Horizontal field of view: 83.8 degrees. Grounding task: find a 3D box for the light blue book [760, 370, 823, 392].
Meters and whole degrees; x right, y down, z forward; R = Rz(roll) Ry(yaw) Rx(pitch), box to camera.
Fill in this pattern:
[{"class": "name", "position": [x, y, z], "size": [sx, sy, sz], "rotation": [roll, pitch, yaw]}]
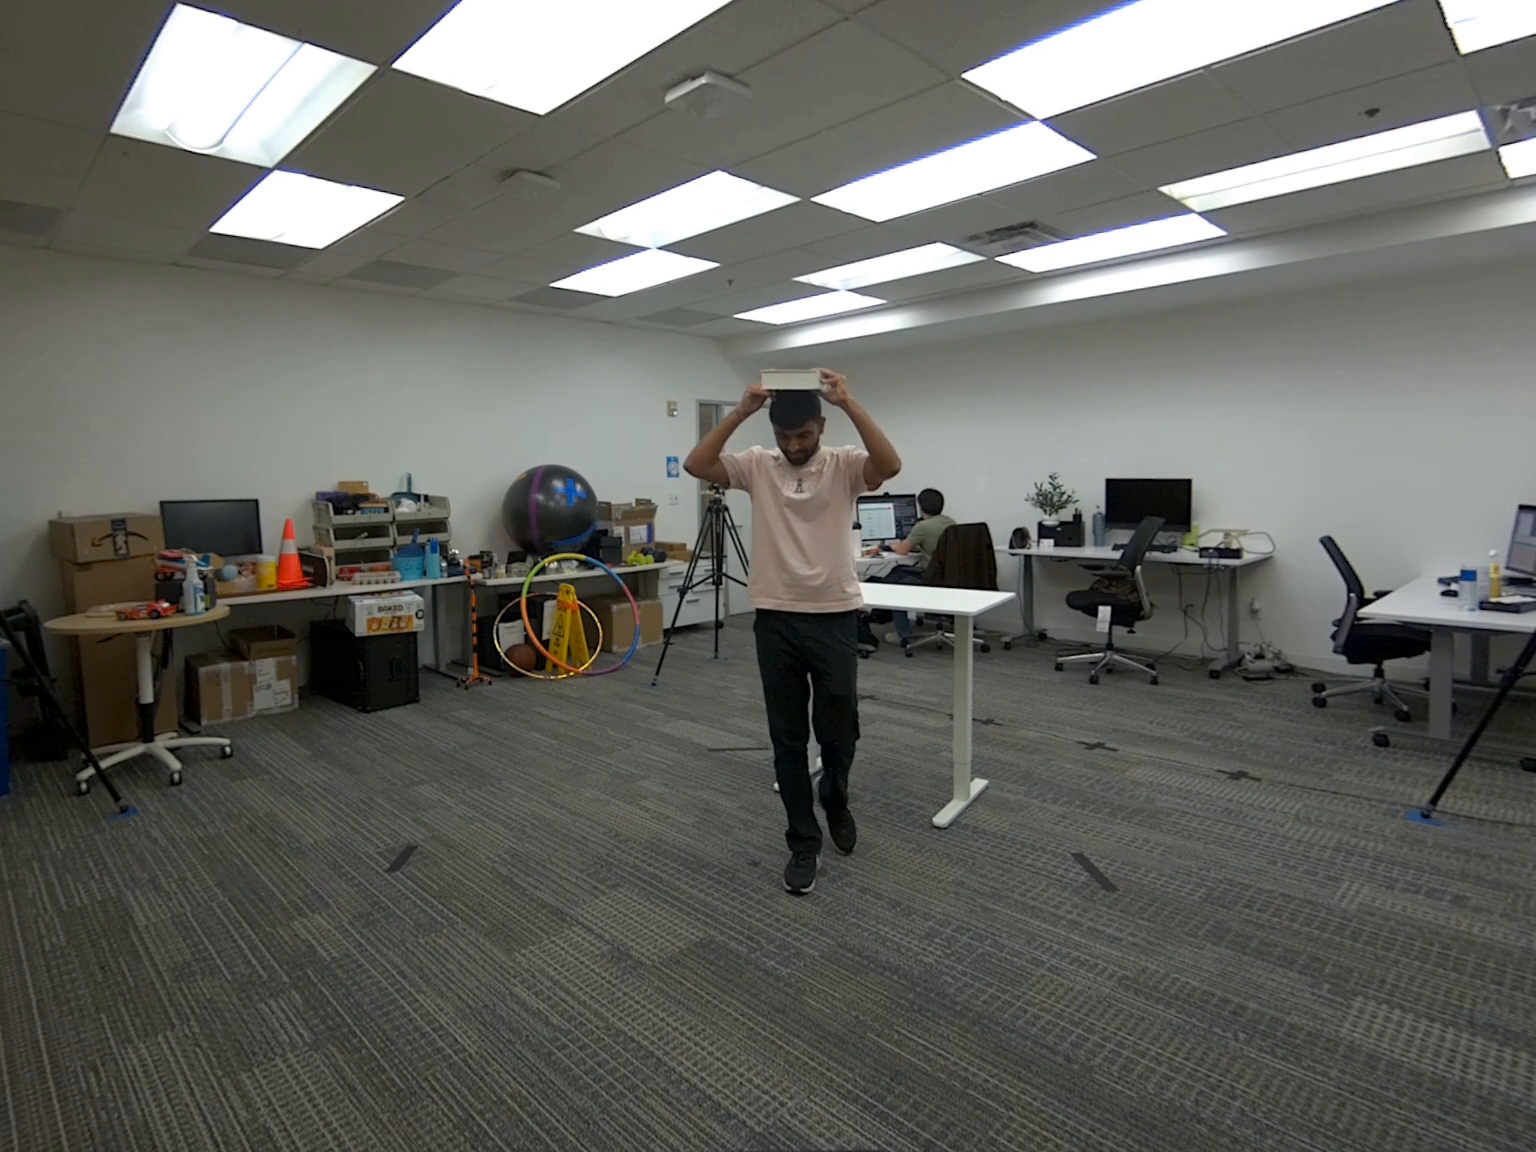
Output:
[{"class": "light blue book", "position": [0.075, -0.648, 2.835], "size": [0.192, 0.058, 0.262], "rotation": [2, 12, 5]}]
